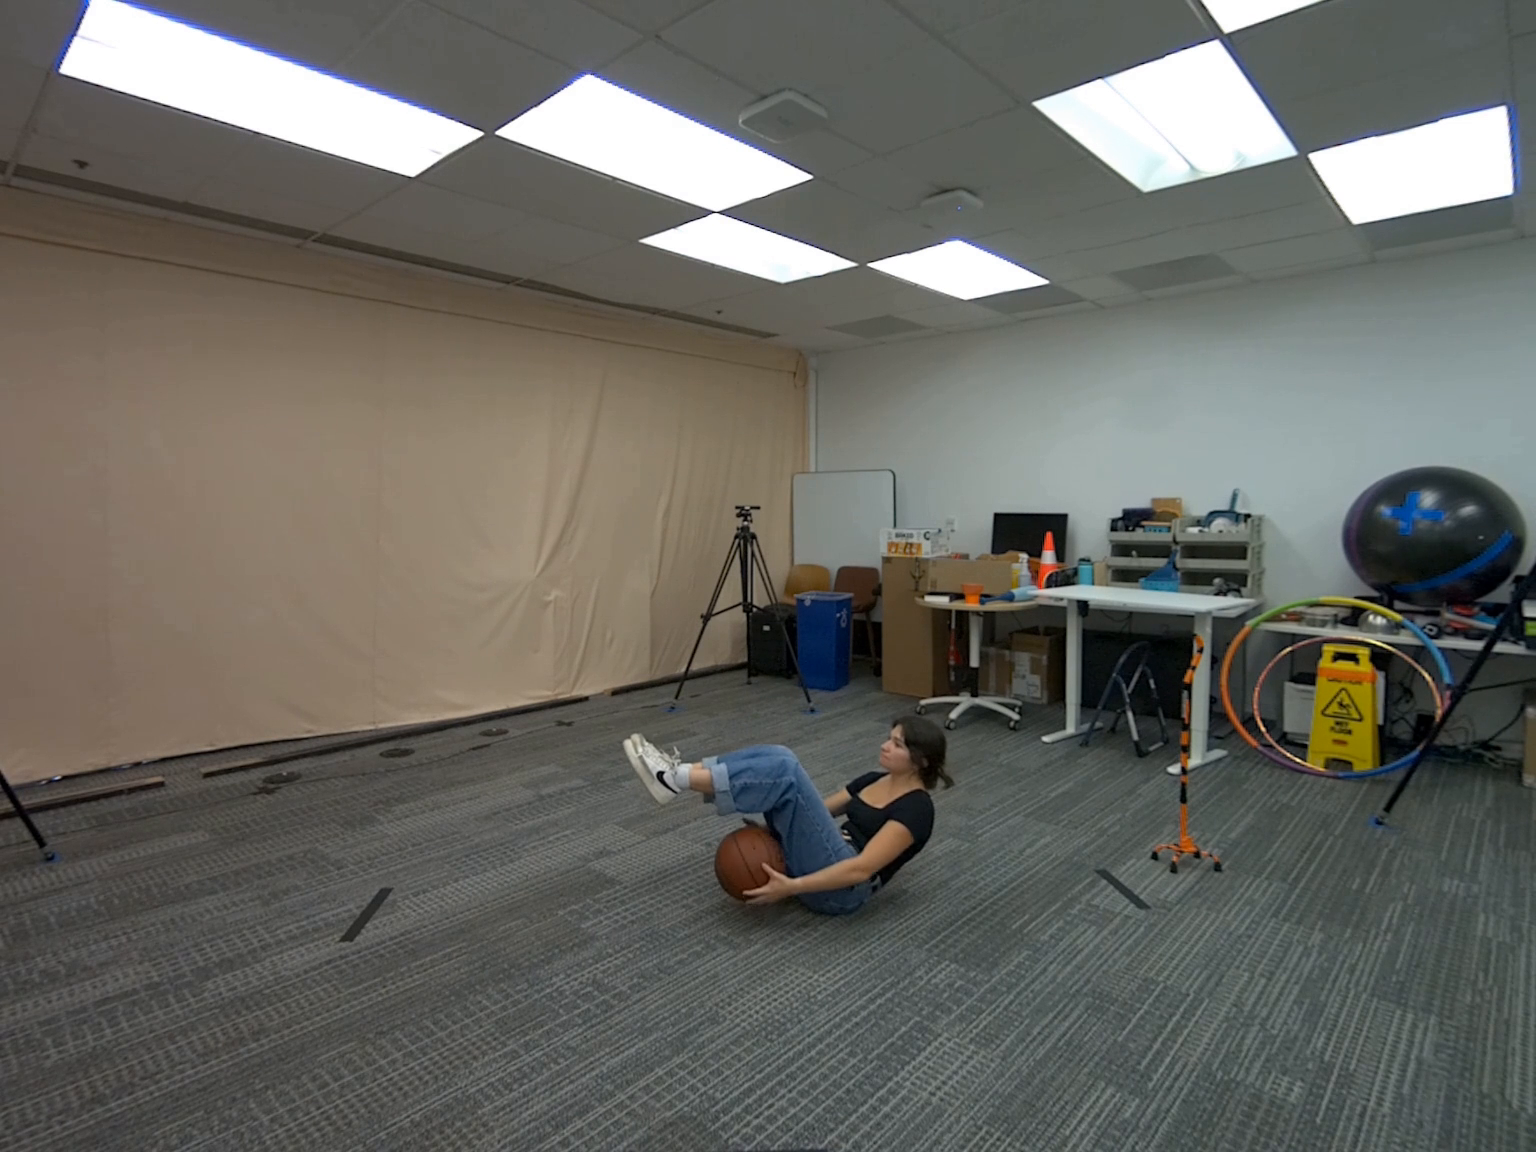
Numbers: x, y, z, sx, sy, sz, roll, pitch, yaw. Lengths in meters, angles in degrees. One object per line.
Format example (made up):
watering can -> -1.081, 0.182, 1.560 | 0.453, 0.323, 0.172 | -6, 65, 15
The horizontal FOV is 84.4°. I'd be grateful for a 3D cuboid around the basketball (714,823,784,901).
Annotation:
basketball -> -0.051, 0.958, 2.853 | 0.236, 0.235, 0.237 | 0, 4, -2
